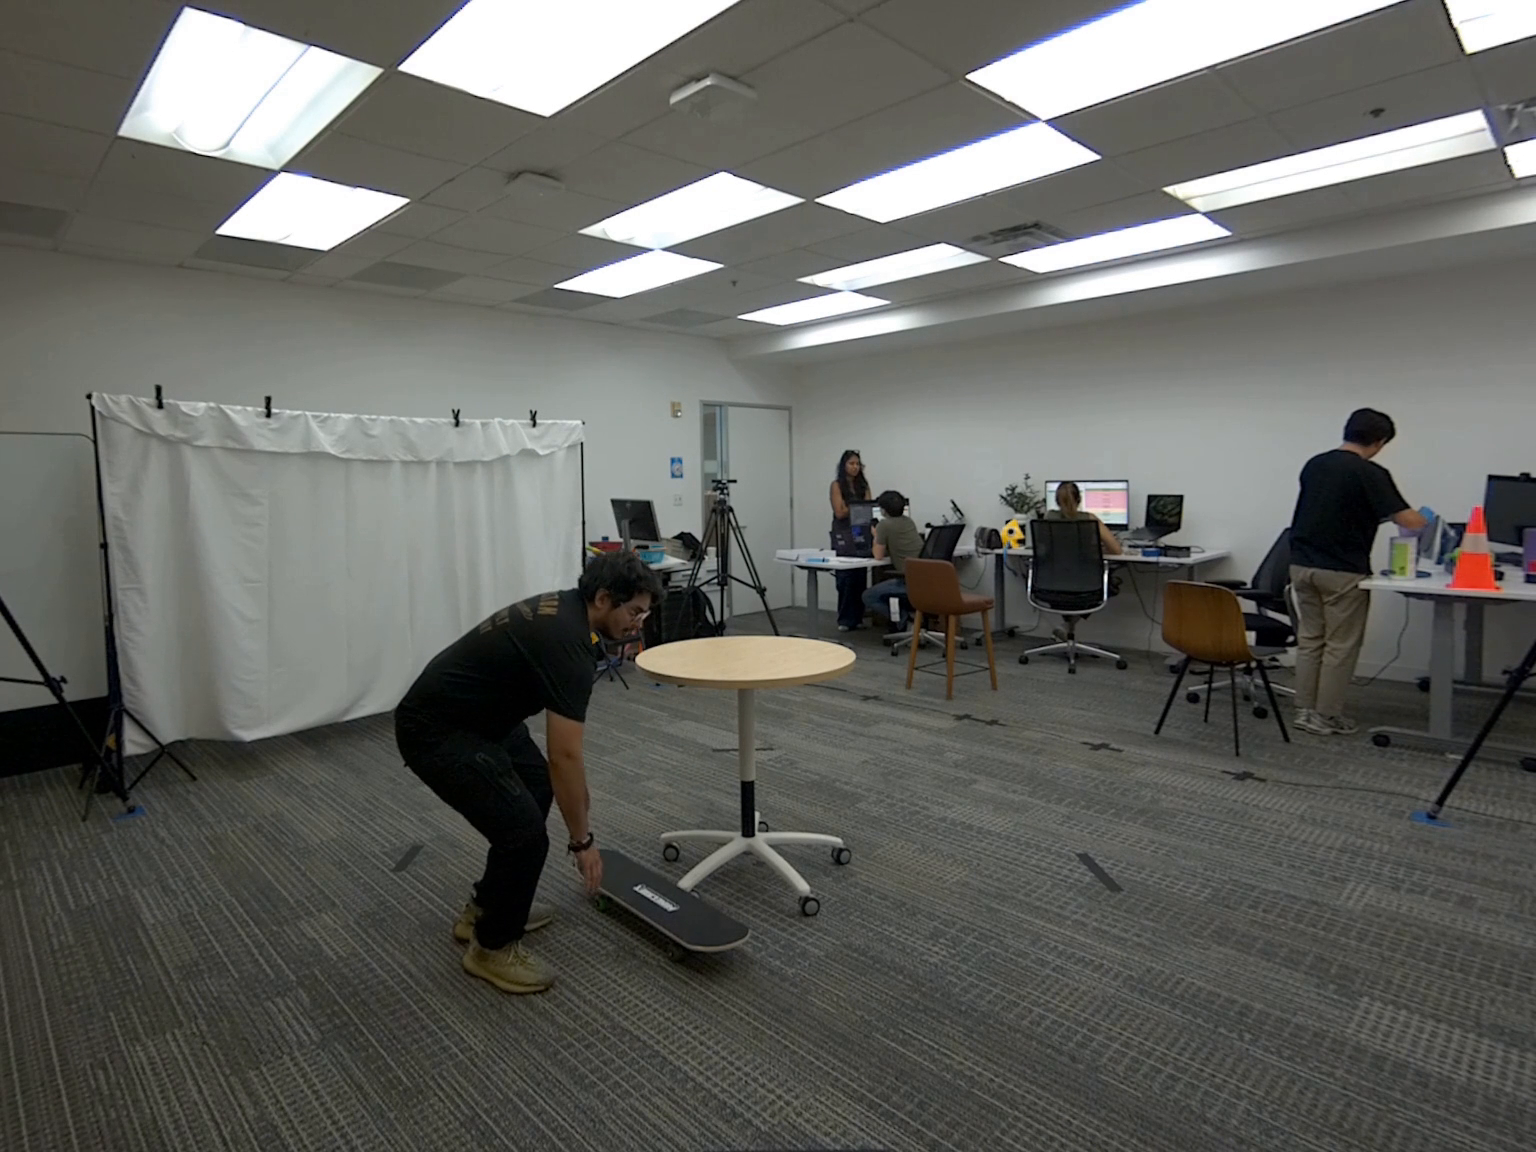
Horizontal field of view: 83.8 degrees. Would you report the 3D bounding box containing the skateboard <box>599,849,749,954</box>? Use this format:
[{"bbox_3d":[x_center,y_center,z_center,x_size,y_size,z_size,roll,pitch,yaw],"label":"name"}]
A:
[{"bbox_3d":[-0.351,1.045,2.692,0.188,0.110,0.810,-8,9,-42],"label":"skateboard"}]
